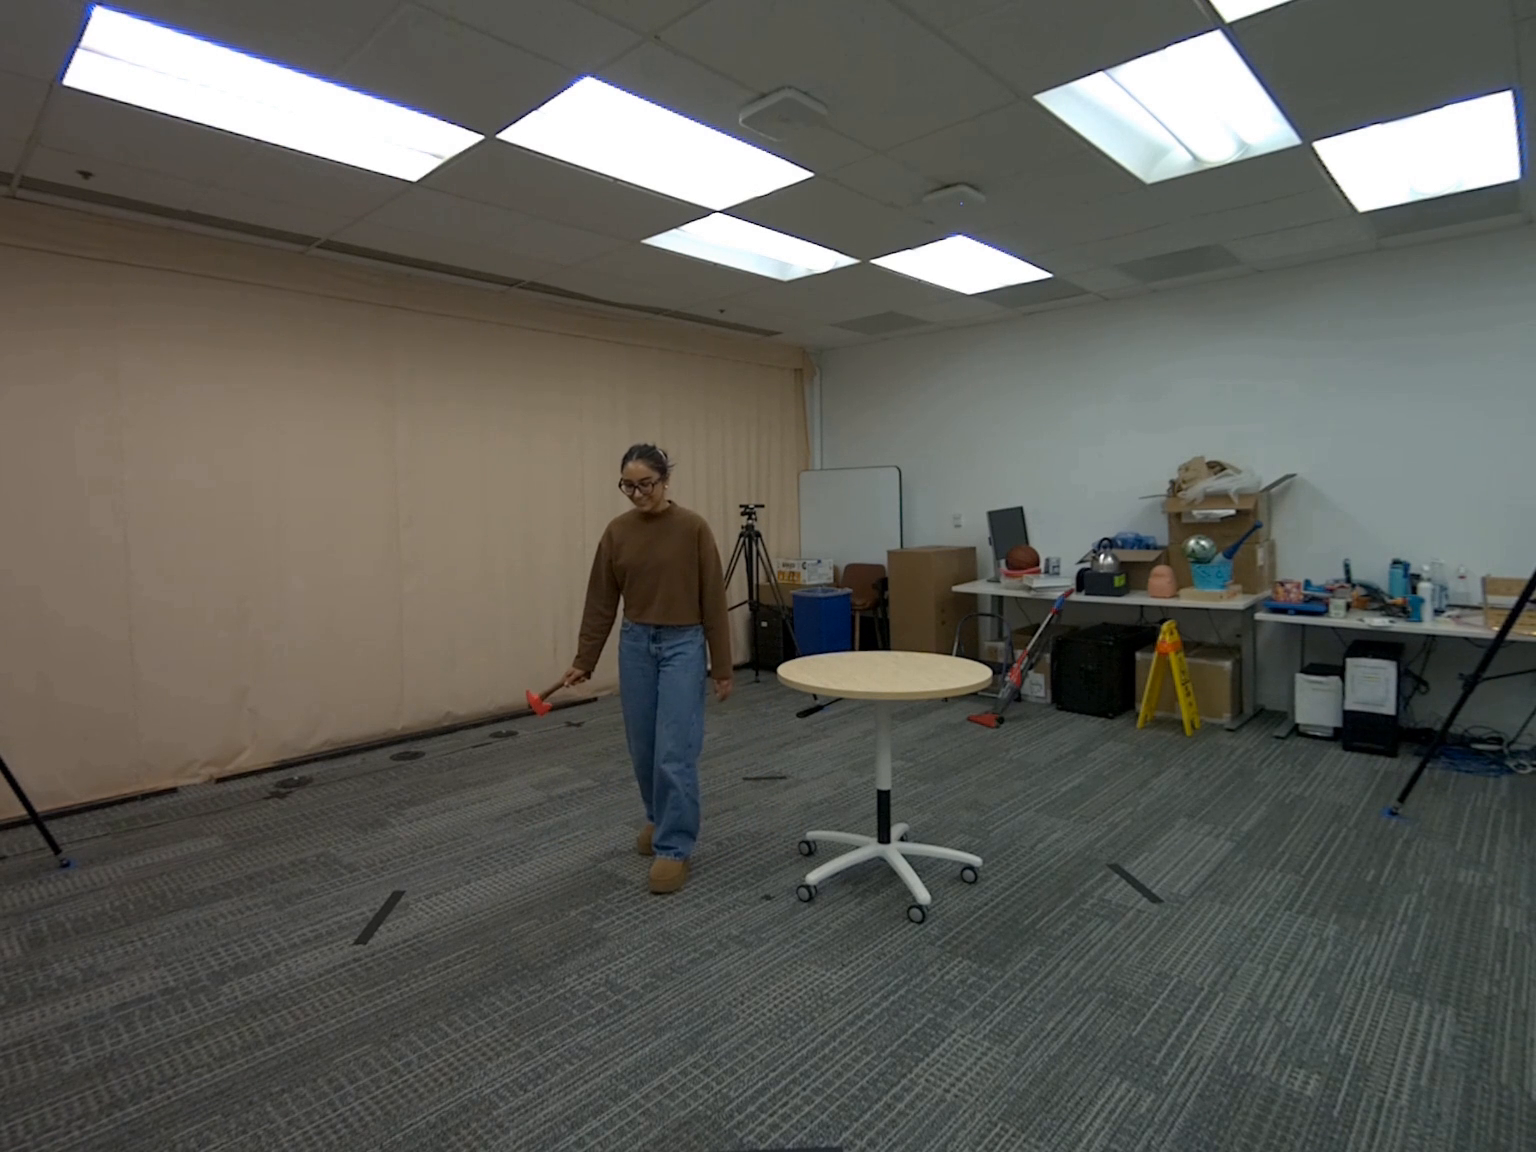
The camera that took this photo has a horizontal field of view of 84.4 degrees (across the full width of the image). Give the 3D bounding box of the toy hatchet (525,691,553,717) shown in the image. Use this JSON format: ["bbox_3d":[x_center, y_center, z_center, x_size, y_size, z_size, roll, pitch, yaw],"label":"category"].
[{"bbox_3d":[-0.791,0.460,3.248,0.264,0.129,0.030,-13,22,-28],"label":"toy hatchet"}]
